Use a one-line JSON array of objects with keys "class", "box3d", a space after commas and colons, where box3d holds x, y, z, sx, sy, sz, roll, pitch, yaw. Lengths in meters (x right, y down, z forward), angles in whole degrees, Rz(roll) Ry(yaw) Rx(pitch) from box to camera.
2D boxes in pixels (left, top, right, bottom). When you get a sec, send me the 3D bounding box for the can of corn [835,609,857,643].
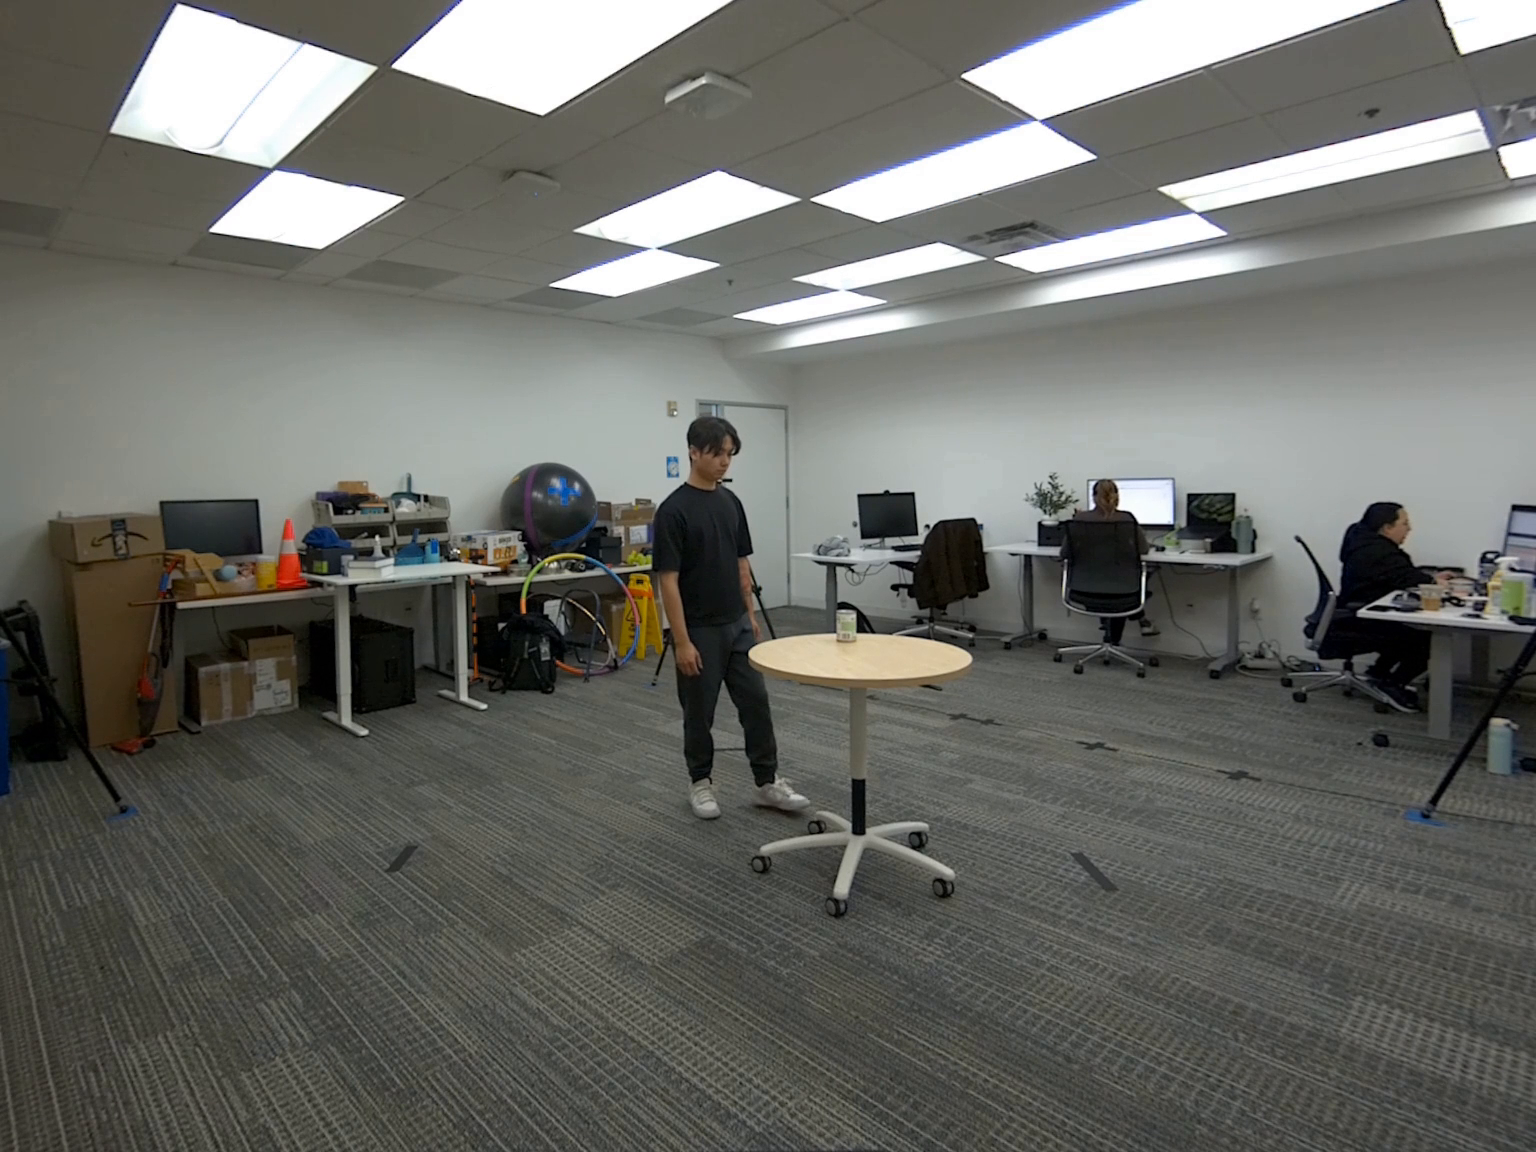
[{"class": "can of corn", "box3d": [0.297, 0.189, 3.204, 0.074, 0.111, 0.074, -1, 3, -2]}]
